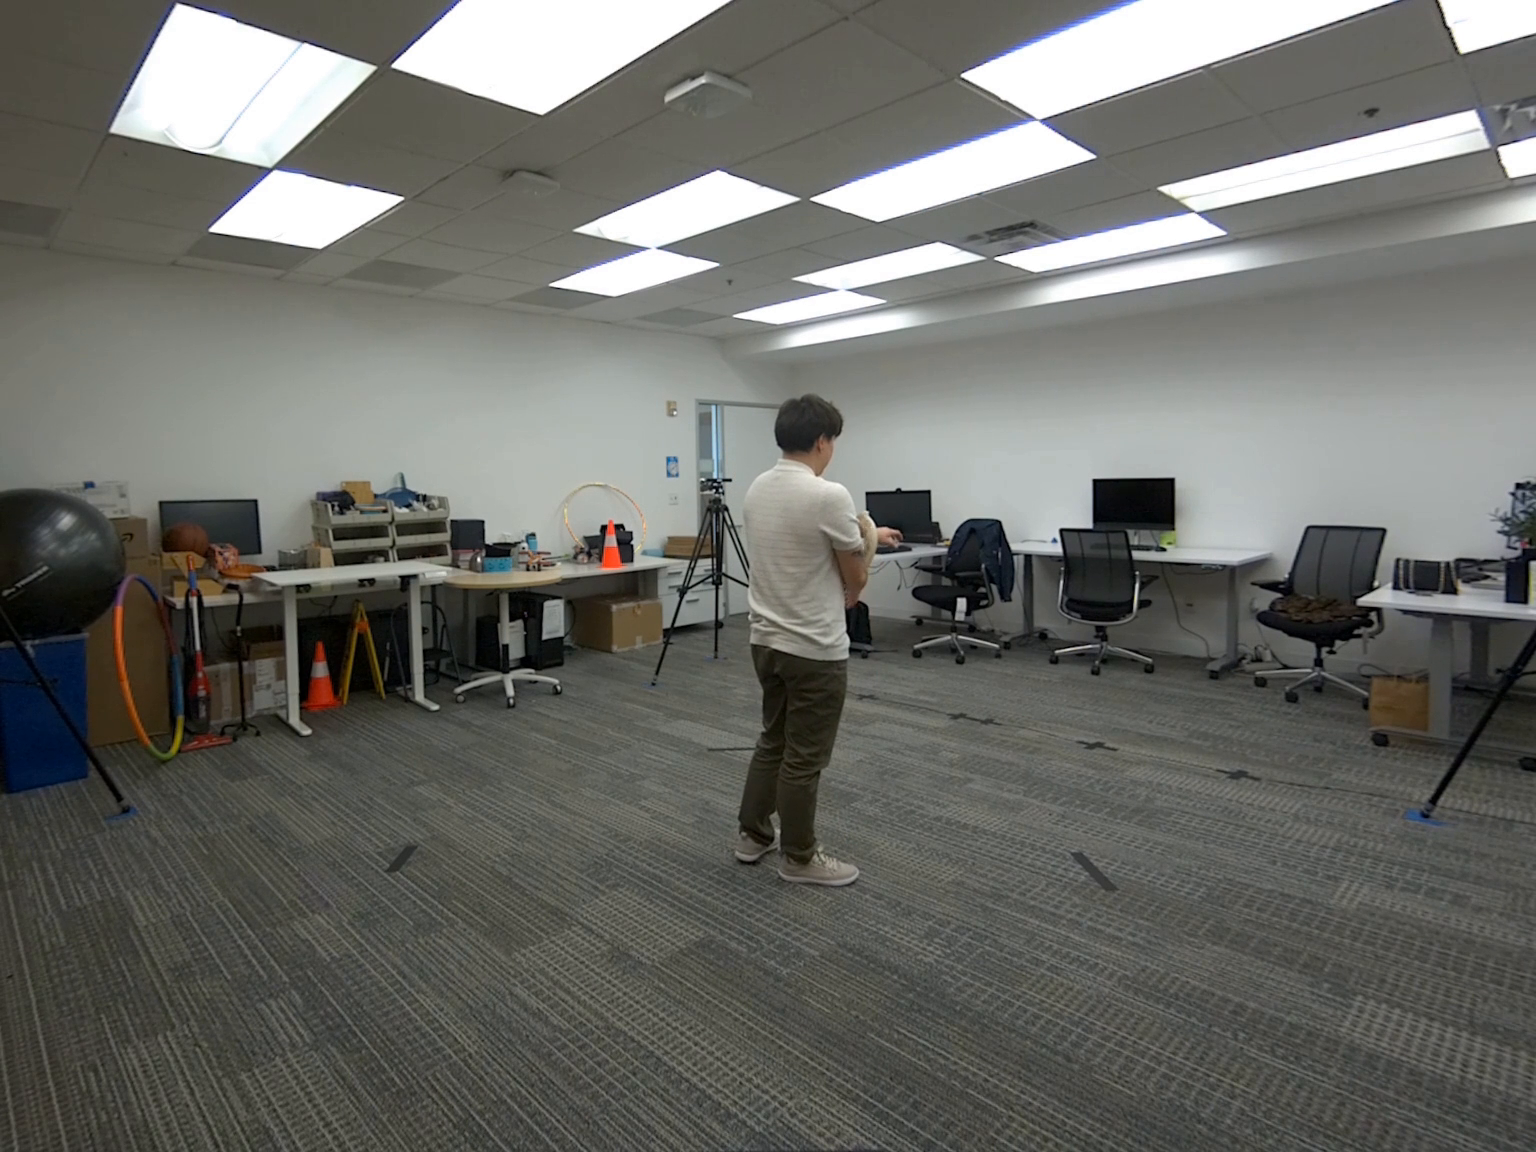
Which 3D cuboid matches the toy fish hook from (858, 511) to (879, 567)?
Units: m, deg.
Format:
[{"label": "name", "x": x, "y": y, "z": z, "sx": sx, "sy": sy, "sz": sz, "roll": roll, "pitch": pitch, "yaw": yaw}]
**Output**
[{"label": "toy fish hook", "x": 0.334, "y": -0.038, "z": 3.377, "sx": 0.047, "sy": 0.499, "sz": 0.232, "roll": 8, "pitch": 41, "yaw": -17}]
